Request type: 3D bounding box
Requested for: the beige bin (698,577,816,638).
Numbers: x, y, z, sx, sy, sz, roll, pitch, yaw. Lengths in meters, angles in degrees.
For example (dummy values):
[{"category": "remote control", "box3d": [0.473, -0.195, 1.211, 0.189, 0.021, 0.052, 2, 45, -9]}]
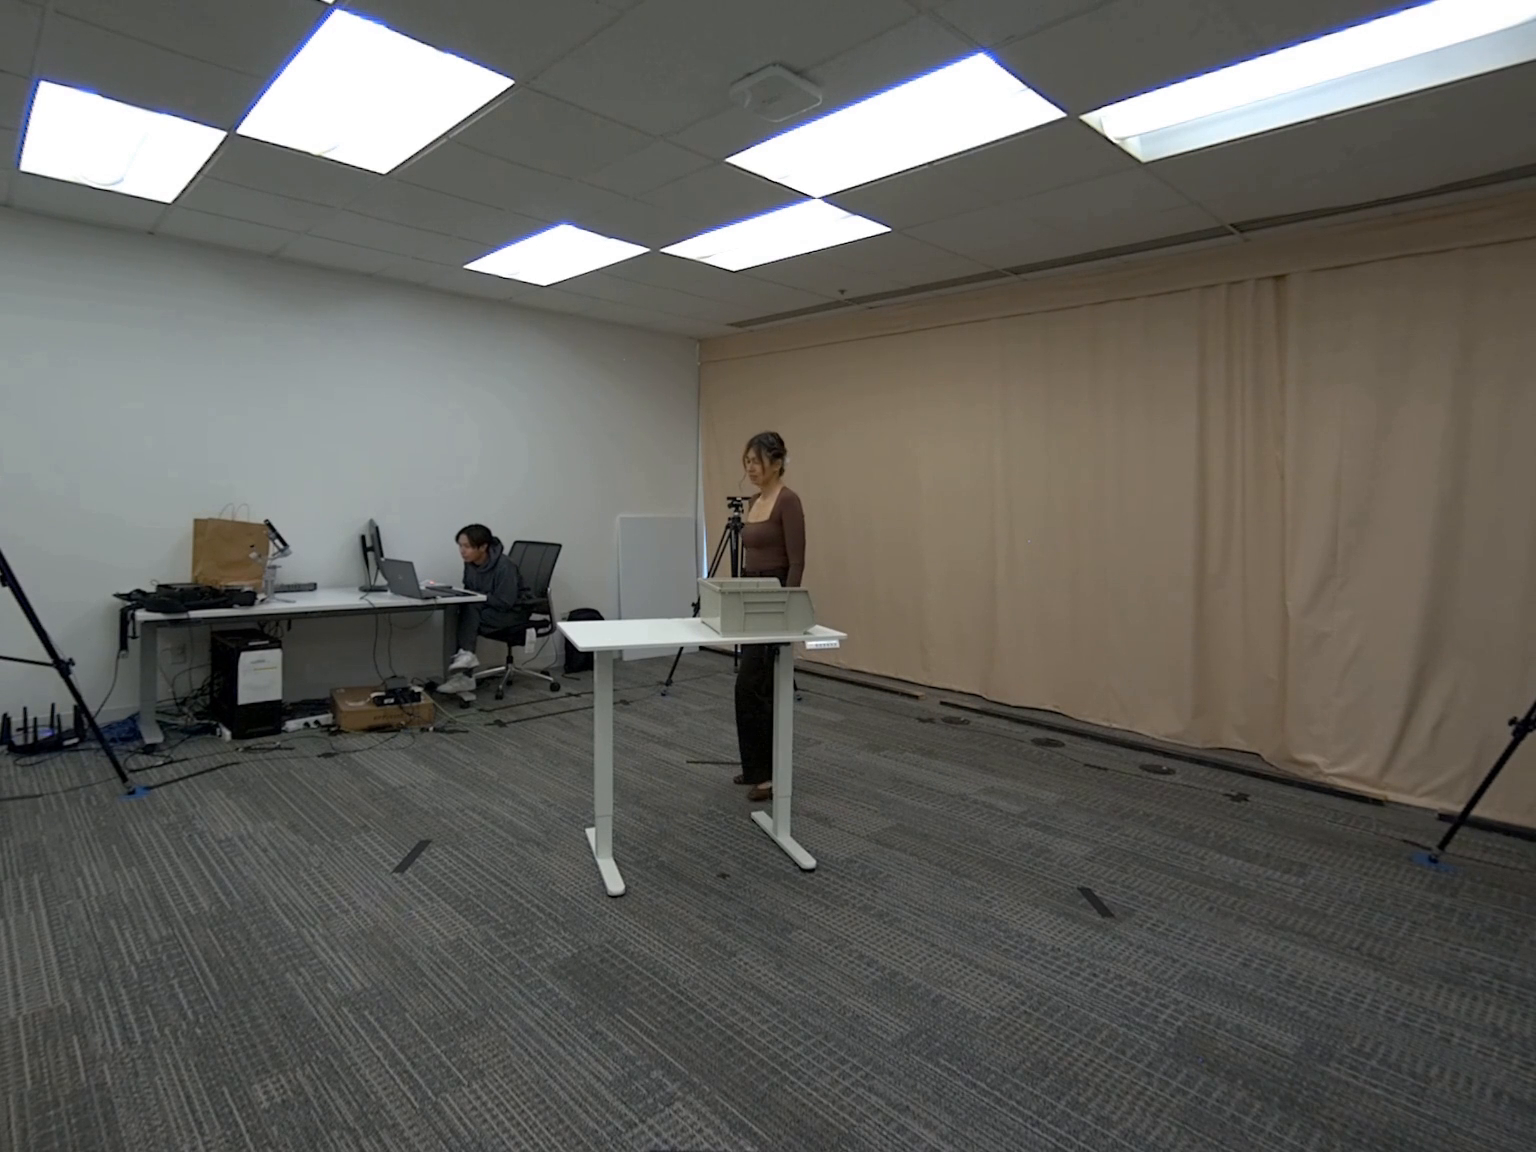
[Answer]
[{"category": "beige bin", "box3d": [-0.065, 0.120, 3.286, 0.373, 0.188, 0.428, -1, 5, -15]}]
